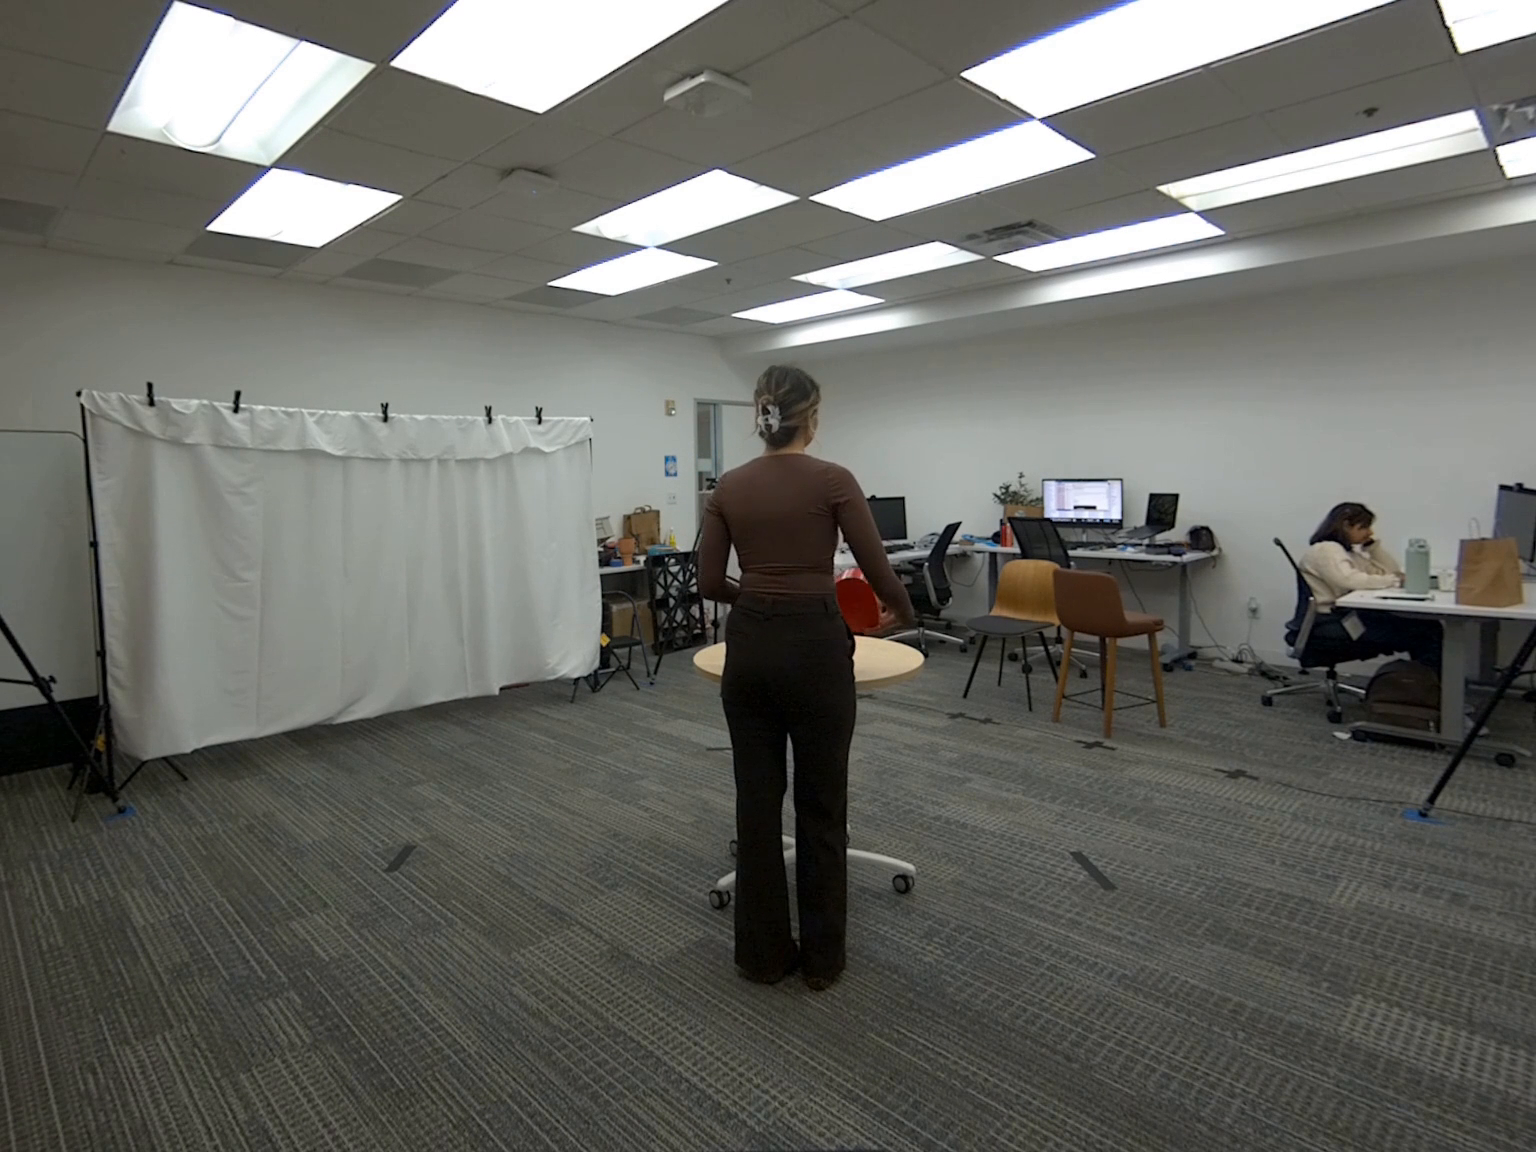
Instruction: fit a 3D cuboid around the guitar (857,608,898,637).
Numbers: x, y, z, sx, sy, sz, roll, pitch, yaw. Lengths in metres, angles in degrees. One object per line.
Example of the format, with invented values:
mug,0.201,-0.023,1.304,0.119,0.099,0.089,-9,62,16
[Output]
guitar,0.129,0.101,2.662,0.508,0.188,0.071,-11,24,30
